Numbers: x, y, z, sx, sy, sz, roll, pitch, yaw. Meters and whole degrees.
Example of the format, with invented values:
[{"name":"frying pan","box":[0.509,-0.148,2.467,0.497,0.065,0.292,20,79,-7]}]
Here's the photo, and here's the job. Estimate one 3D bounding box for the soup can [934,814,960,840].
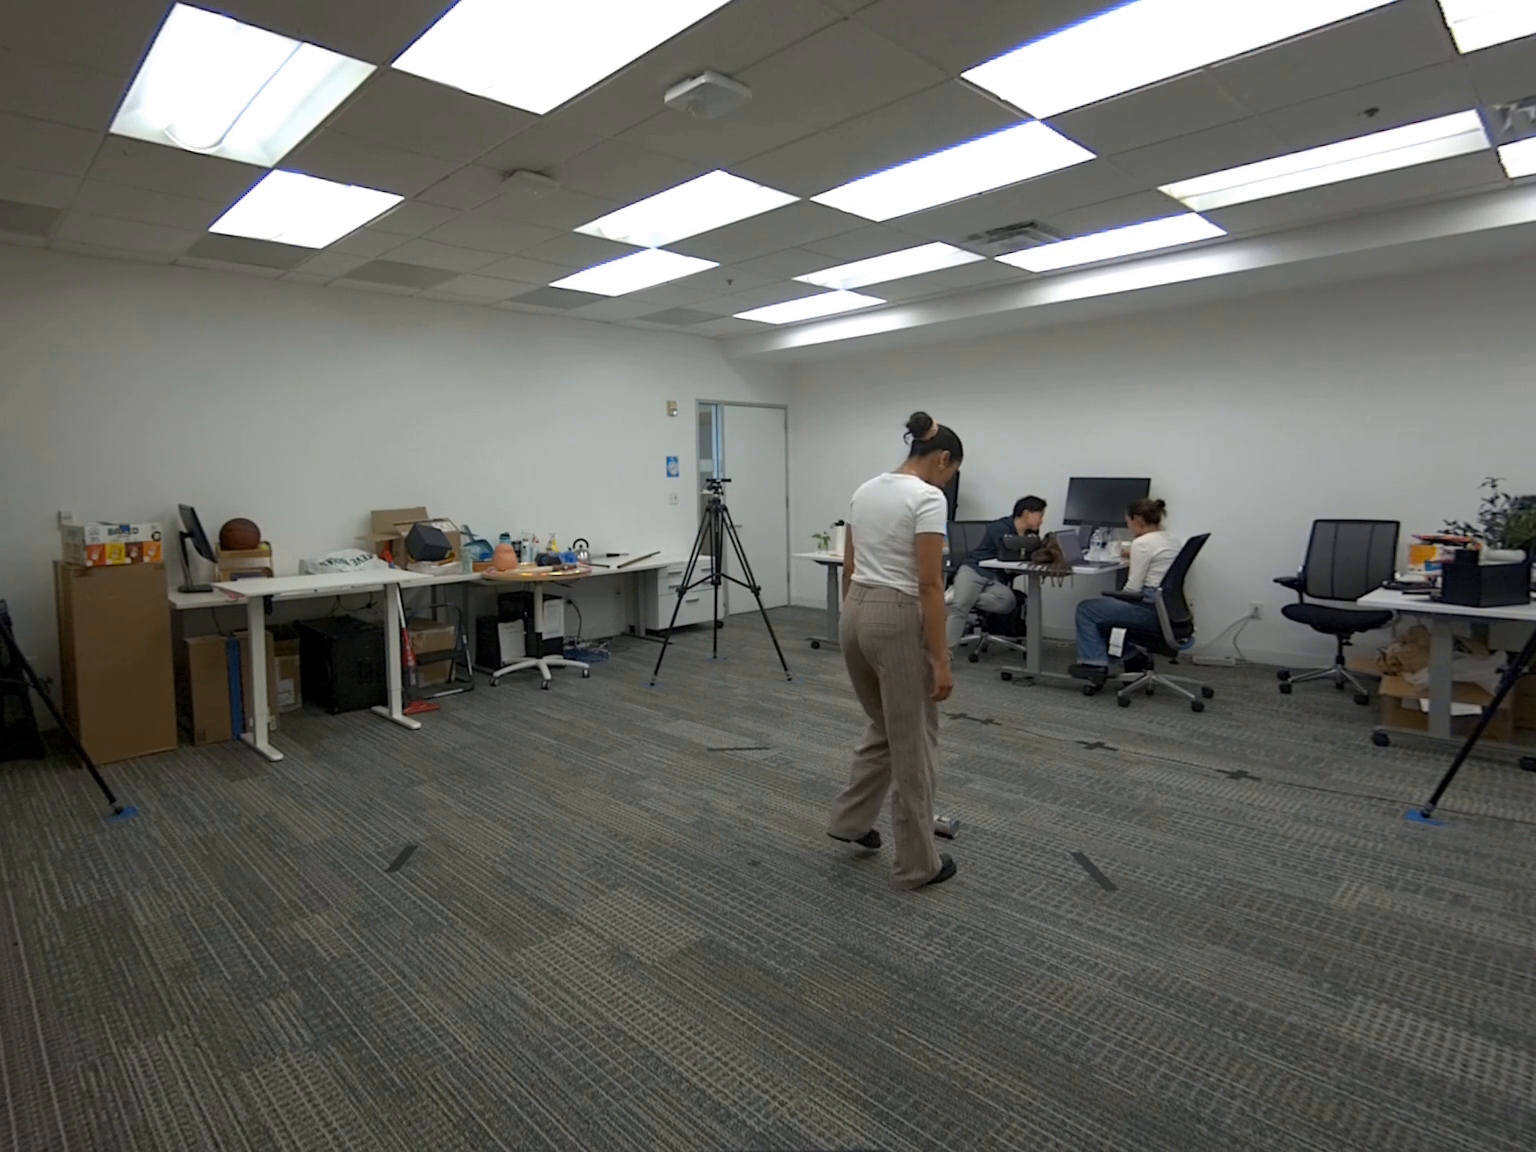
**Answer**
[{"name":"soup can","box":[0.679,0.970,3.330,0.125,0.067,0.065,2,5,43]}]
